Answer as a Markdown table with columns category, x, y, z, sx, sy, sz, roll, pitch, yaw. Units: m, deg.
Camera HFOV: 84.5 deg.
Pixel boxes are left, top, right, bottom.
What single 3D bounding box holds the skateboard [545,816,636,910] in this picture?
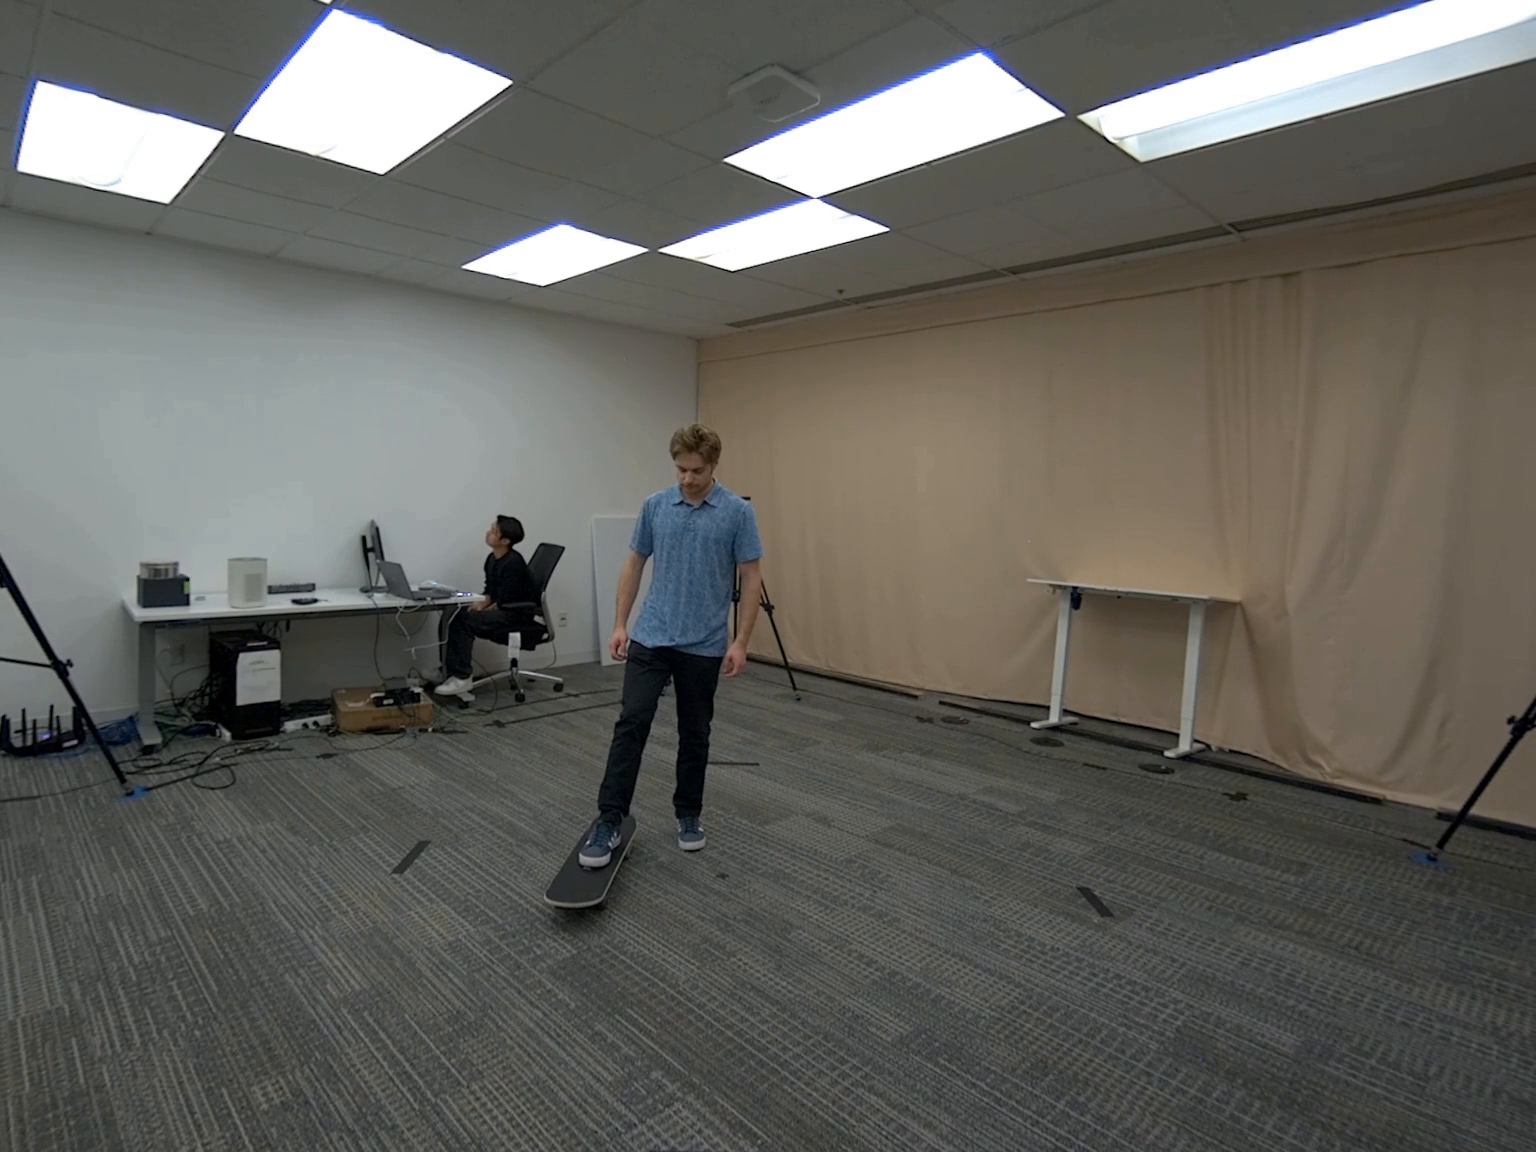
| category | x | y | z | sx | sy | sz | roll | pitch | yaw |
| --- | --- | --- | --- | --- | --- | --- | --- | --- | --- |
| skateboard | -0.625 | 1.042 | 3.038 | 0.194 | 0.110 | 0.785 | 3 | 5 | 2 |
